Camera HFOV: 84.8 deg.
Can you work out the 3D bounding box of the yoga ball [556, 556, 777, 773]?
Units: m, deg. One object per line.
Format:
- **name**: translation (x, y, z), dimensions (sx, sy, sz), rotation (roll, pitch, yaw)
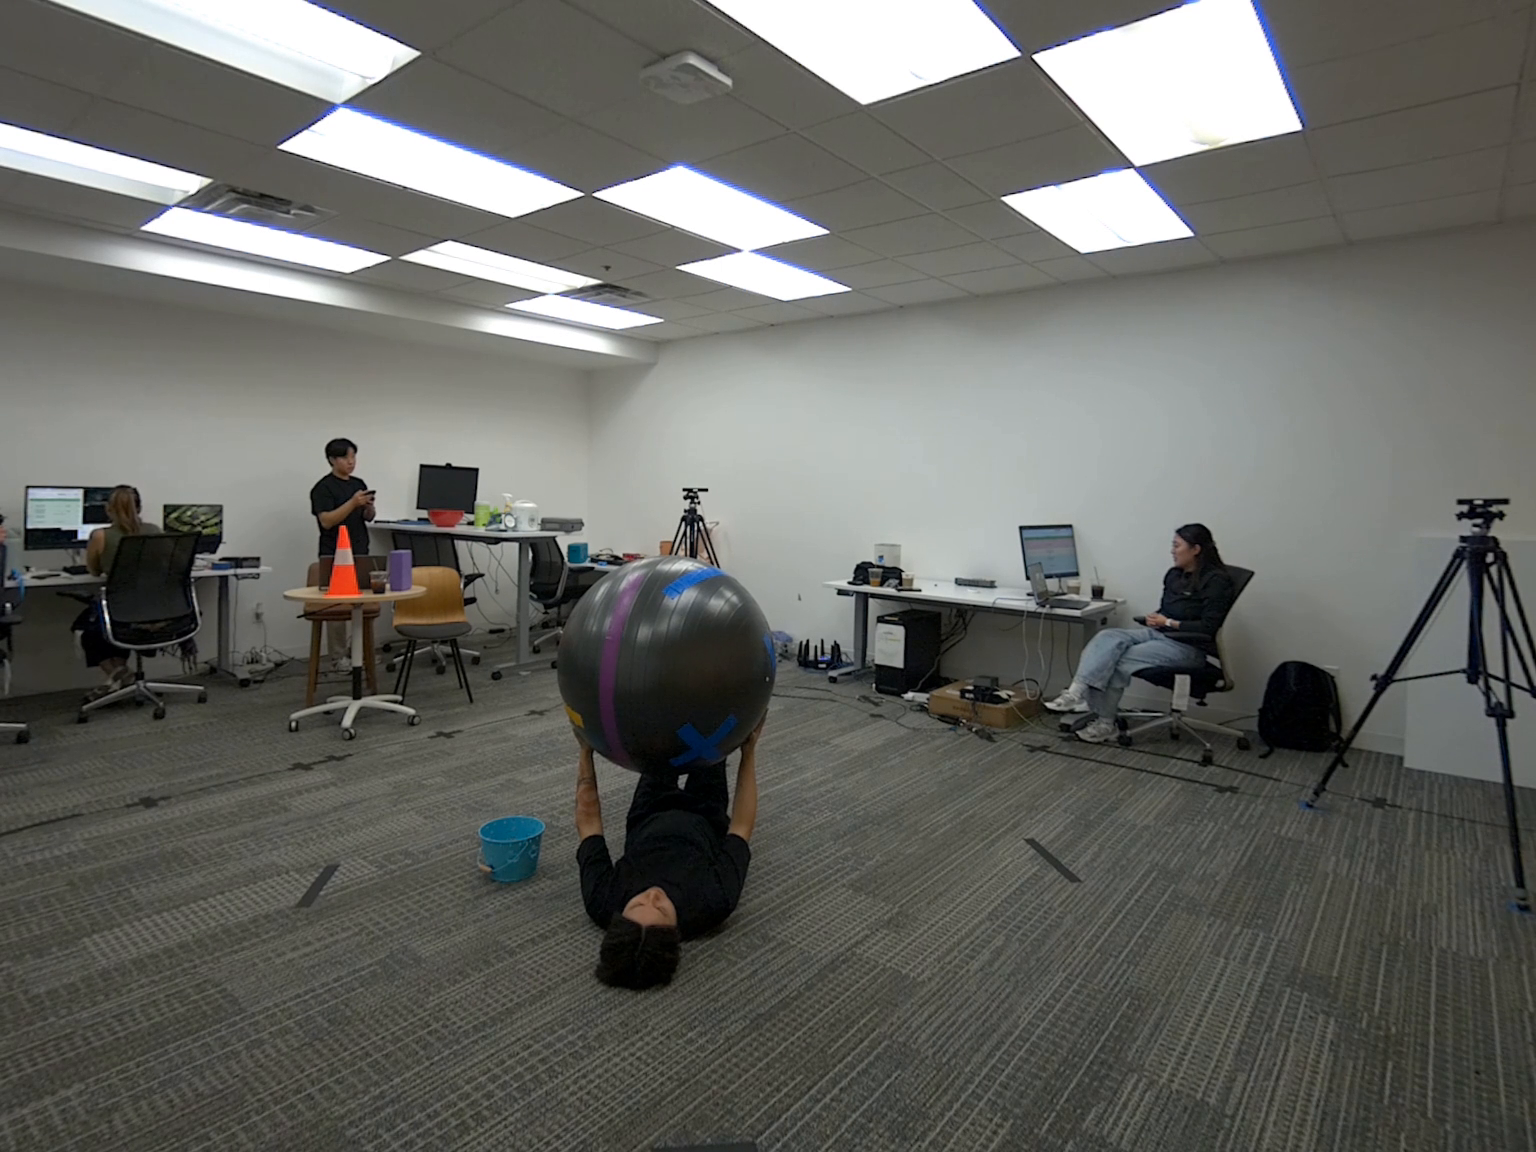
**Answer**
- **yoga ball**: translation (-0.358, 0.312, 2.974), dimensions (0.757, 0.755, 0.762), rotation (1, 4, -2)
